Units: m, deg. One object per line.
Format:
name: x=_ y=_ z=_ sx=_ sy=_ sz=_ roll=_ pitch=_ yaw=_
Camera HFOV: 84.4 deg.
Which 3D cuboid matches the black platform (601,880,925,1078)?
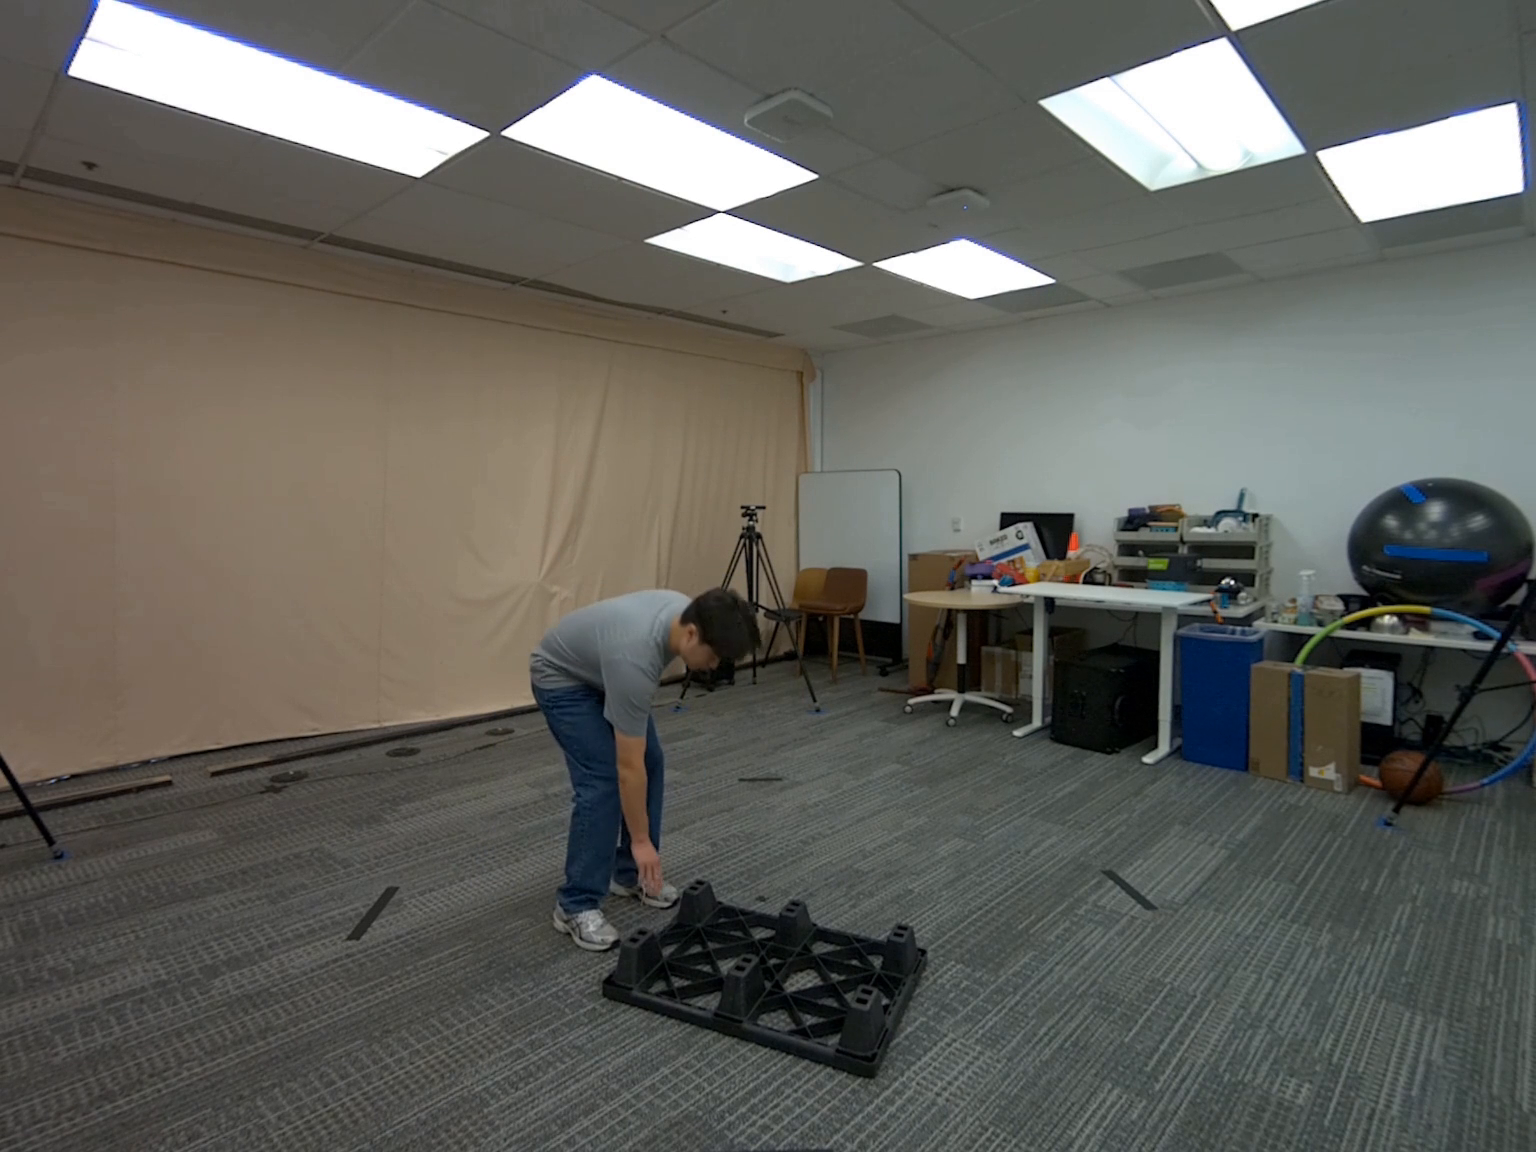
black platform: x=0.006 y=1.122 z=2.472 sx=0.826 sy=0.143 sz=0.591 roll=2 pitch=4 yaw=25
